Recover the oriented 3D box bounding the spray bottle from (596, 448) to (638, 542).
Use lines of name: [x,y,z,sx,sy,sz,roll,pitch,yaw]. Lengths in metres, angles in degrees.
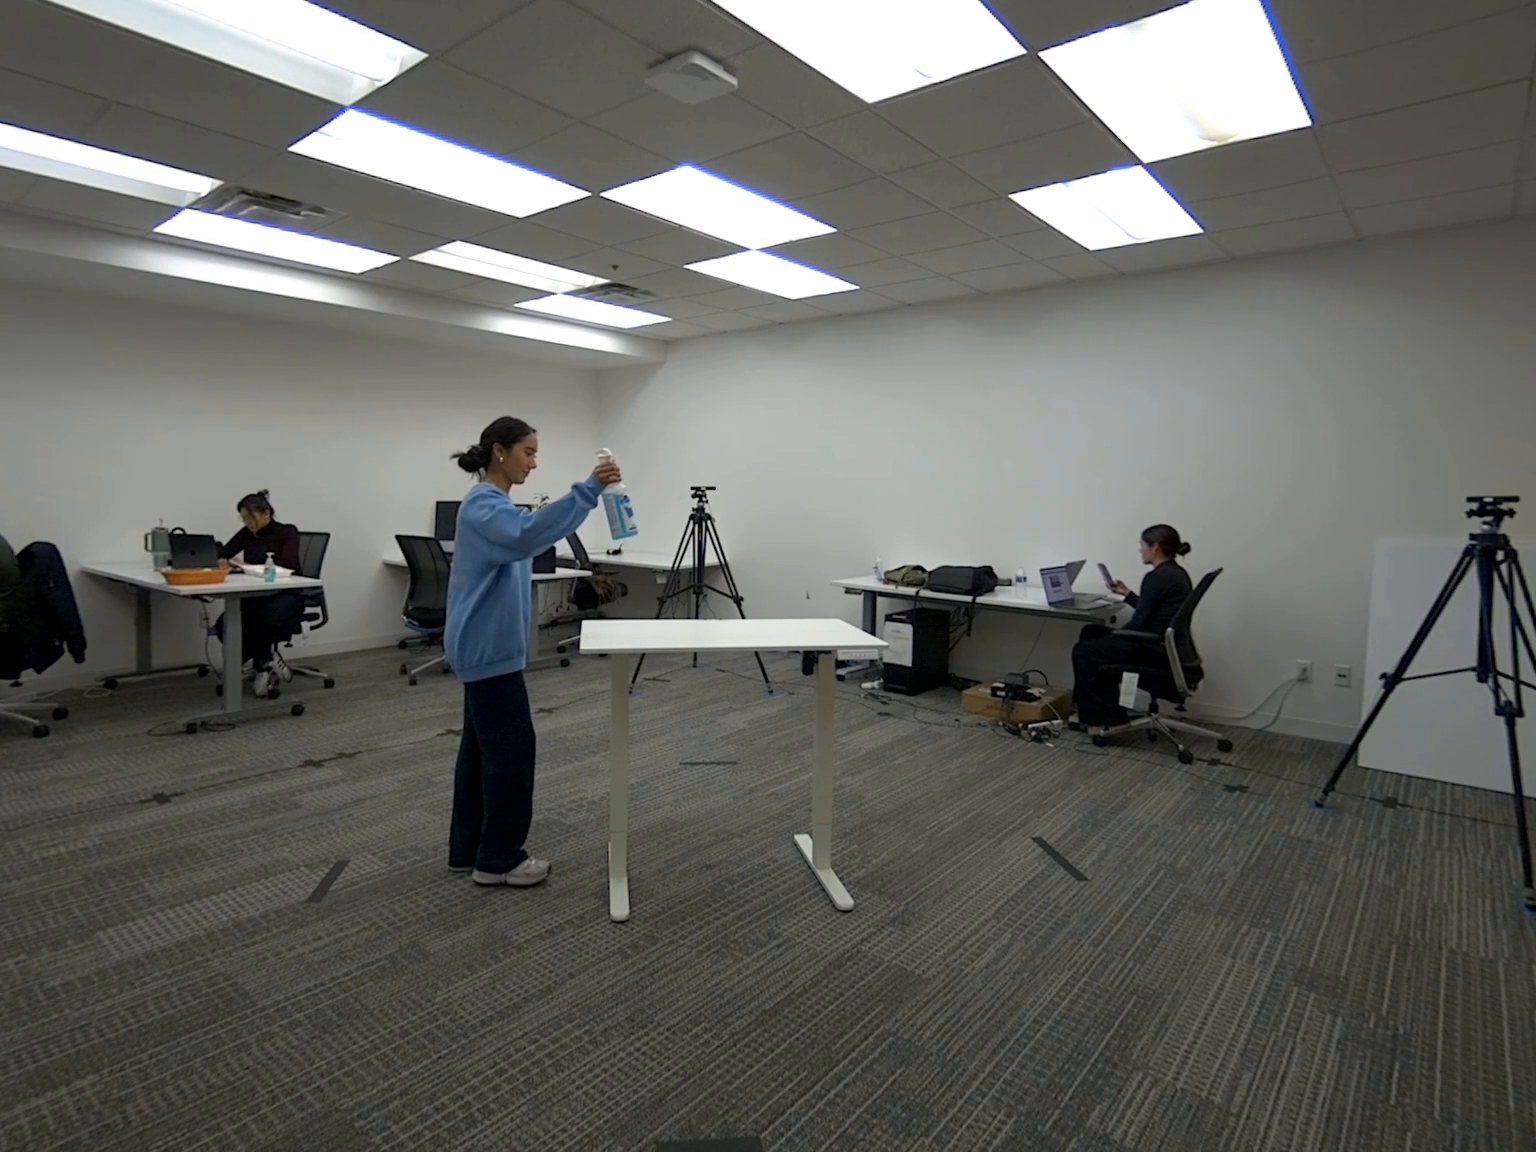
spray bottle: [-0.506,-0.268,2.736,0.086,0.297,0.091,-12,2,-9]
